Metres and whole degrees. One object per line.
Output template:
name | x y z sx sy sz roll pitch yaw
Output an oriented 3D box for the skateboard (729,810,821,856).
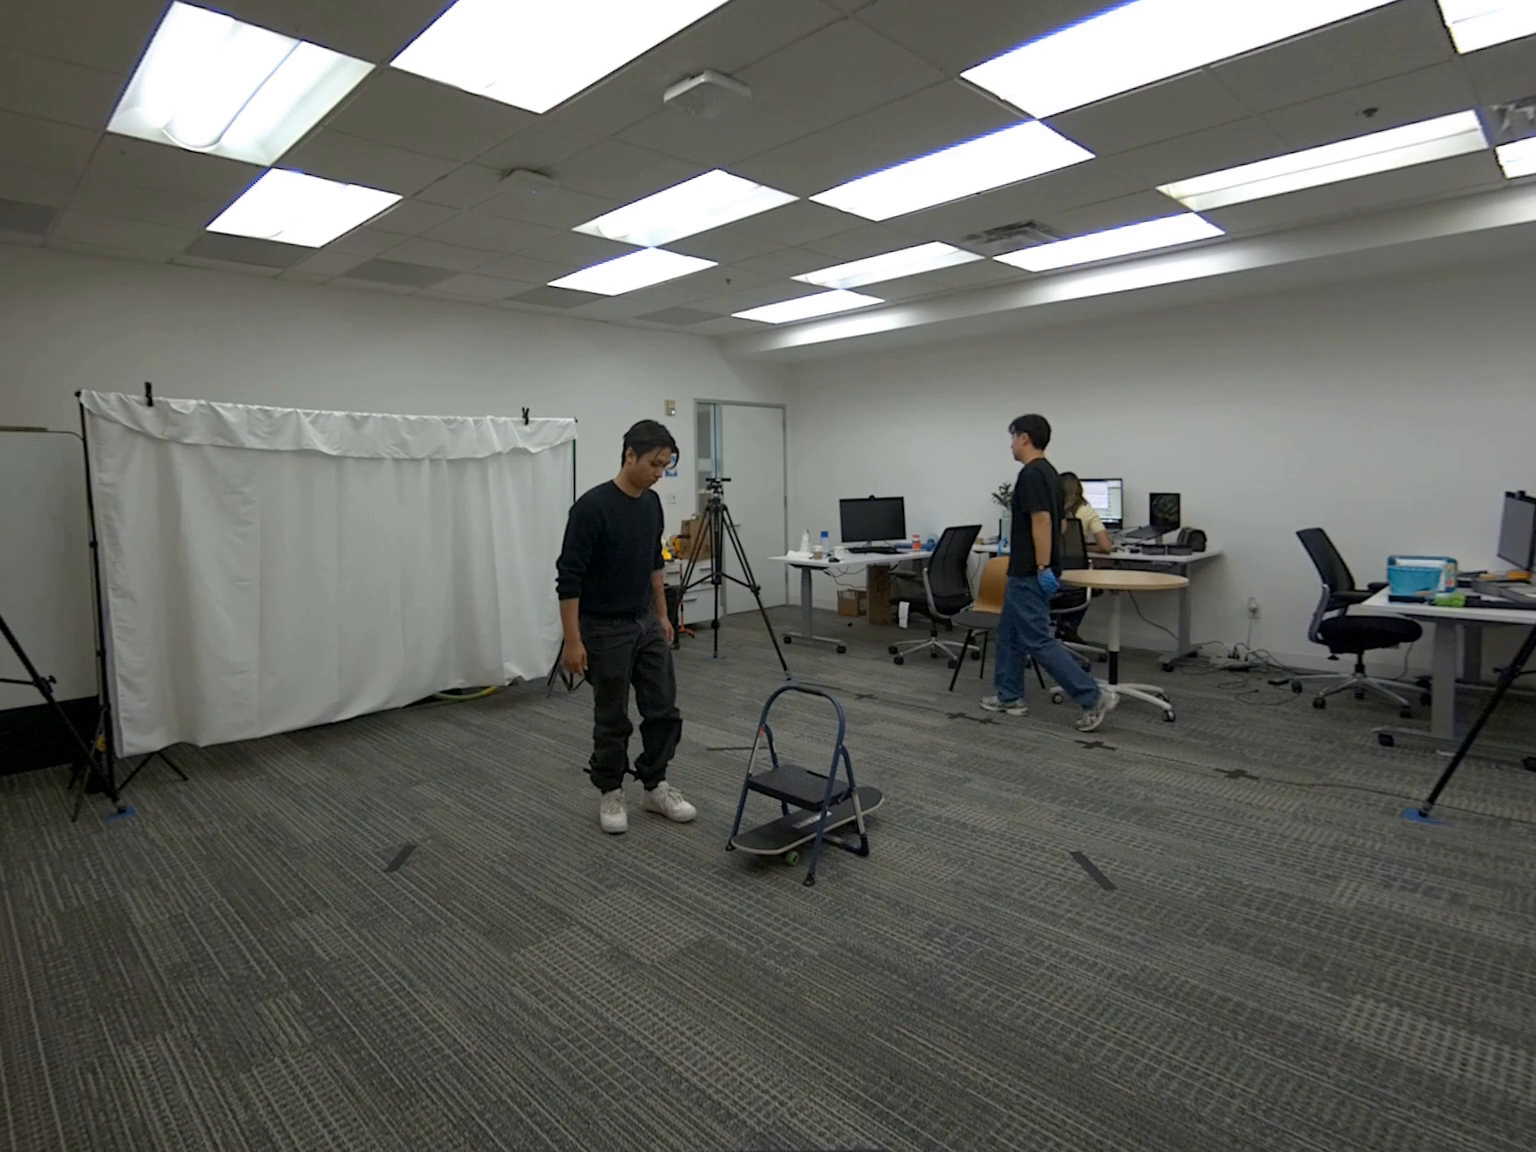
skateboard | 0.164 0.957 3.272 0.765 0.110 0.199 -8 9 -44
